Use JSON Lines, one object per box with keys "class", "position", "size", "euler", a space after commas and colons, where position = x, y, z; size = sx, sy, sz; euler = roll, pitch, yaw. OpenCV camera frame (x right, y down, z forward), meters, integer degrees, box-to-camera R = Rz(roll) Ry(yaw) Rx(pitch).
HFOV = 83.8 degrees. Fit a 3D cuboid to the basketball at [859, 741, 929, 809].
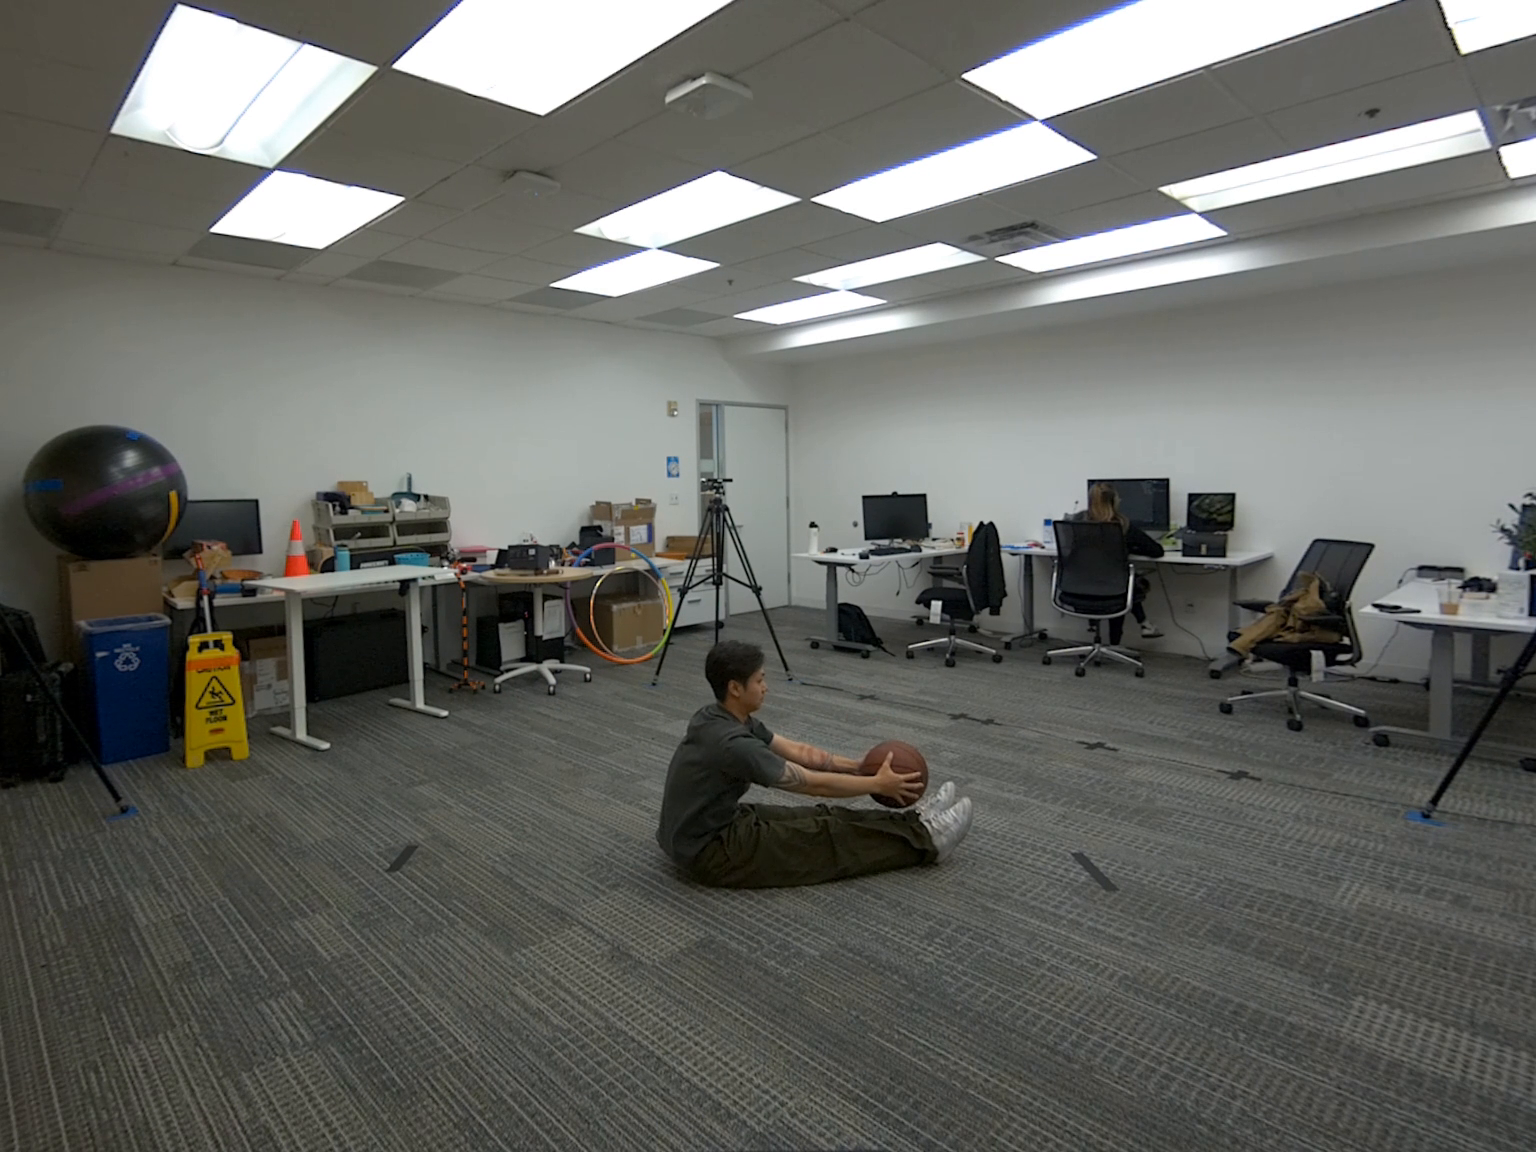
{"class": "basketball", "position": [0.463, 0.717, 3.116], "size": [0.236, 0.235, 0.237], "euler": [-1, 5, -2]}
